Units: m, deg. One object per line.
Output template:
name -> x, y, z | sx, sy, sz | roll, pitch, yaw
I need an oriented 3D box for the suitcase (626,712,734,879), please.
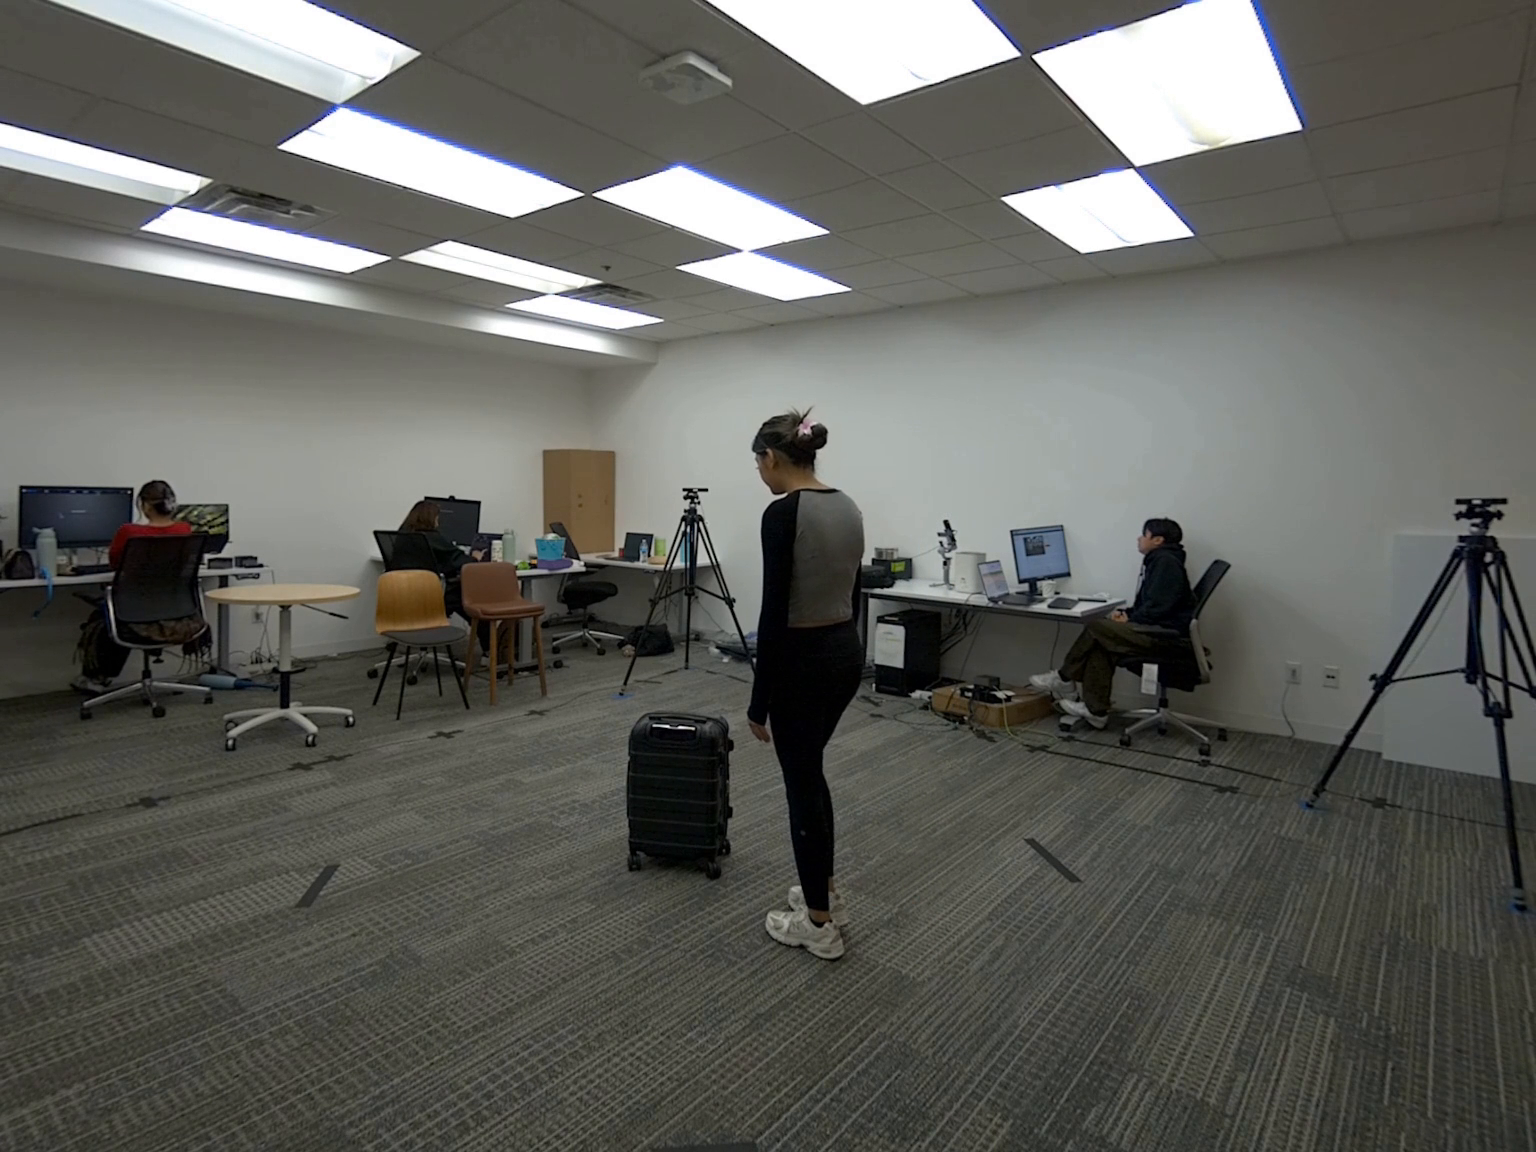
suitcase -> -0.343, 0.784, 3.187 | 0.380, 0.549, 0.245 | 1, 1, 12
